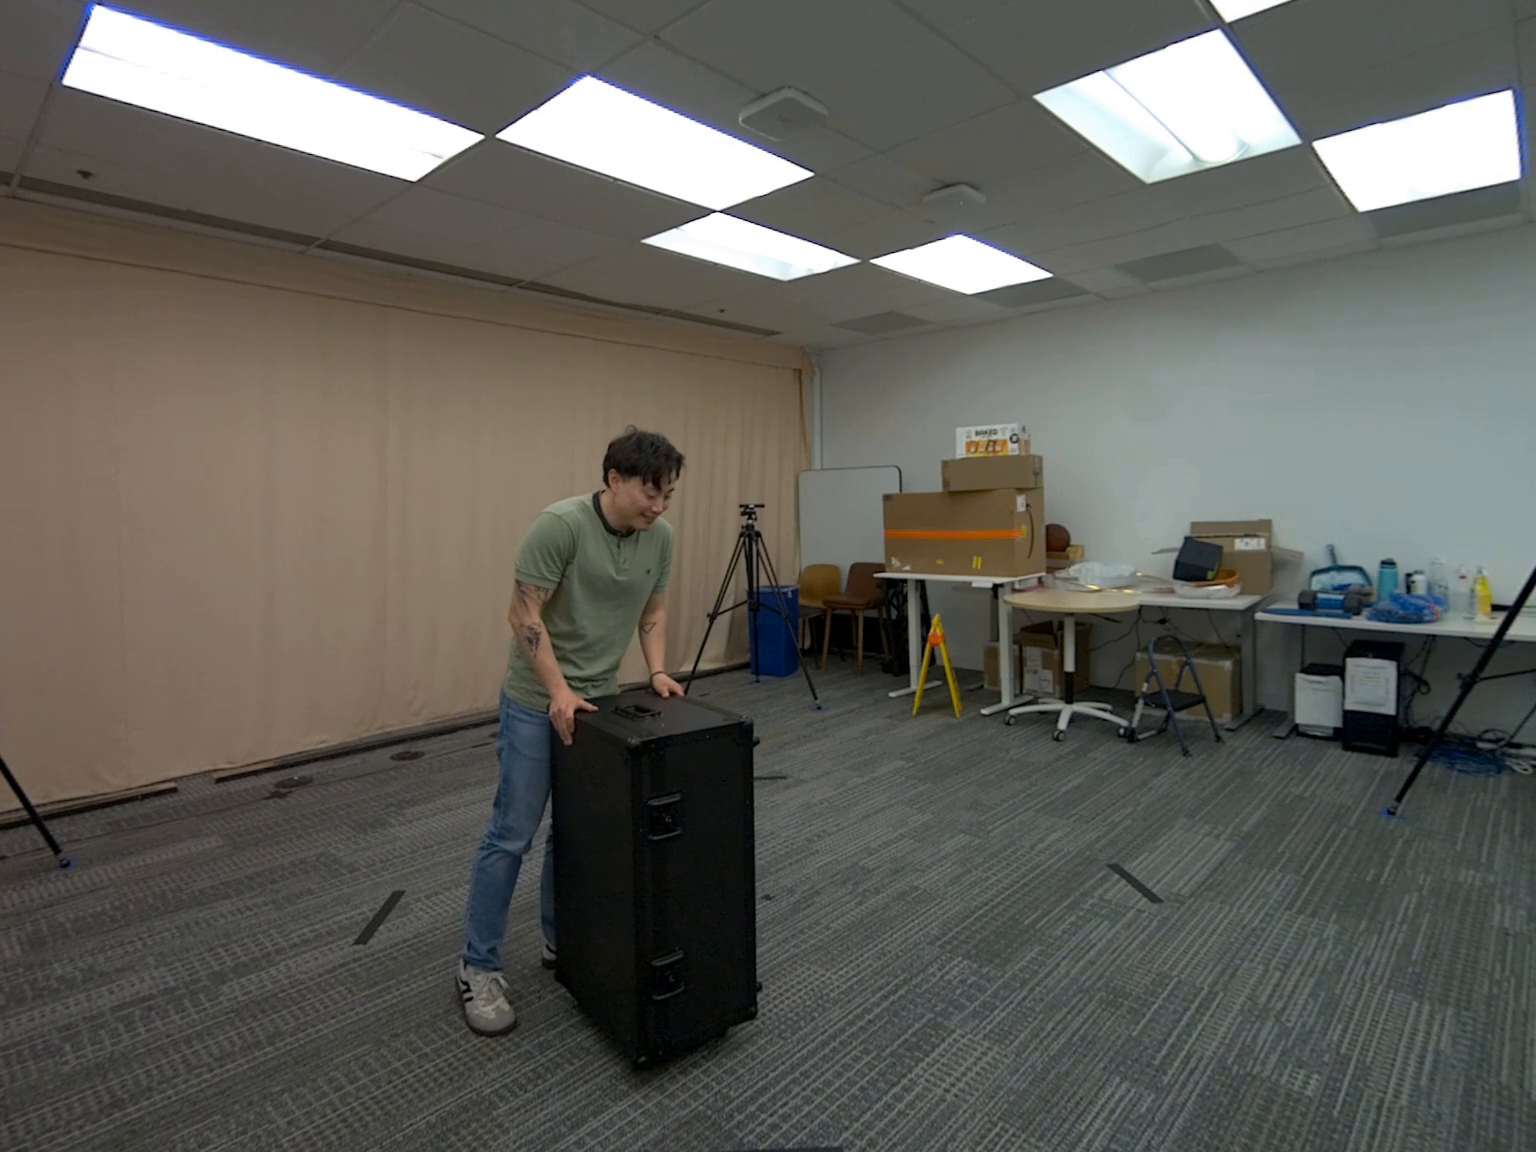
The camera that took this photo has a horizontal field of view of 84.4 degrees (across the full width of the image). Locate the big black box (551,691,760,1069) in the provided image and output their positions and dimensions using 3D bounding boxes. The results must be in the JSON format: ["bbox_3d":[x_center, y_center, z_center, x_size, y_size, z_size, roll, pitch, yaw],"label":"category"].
[{"bbox_3d":[-0.300,0.787,2.251,0.384,0.860,0.538,-1,3,-37],"label":"big black box"}]
